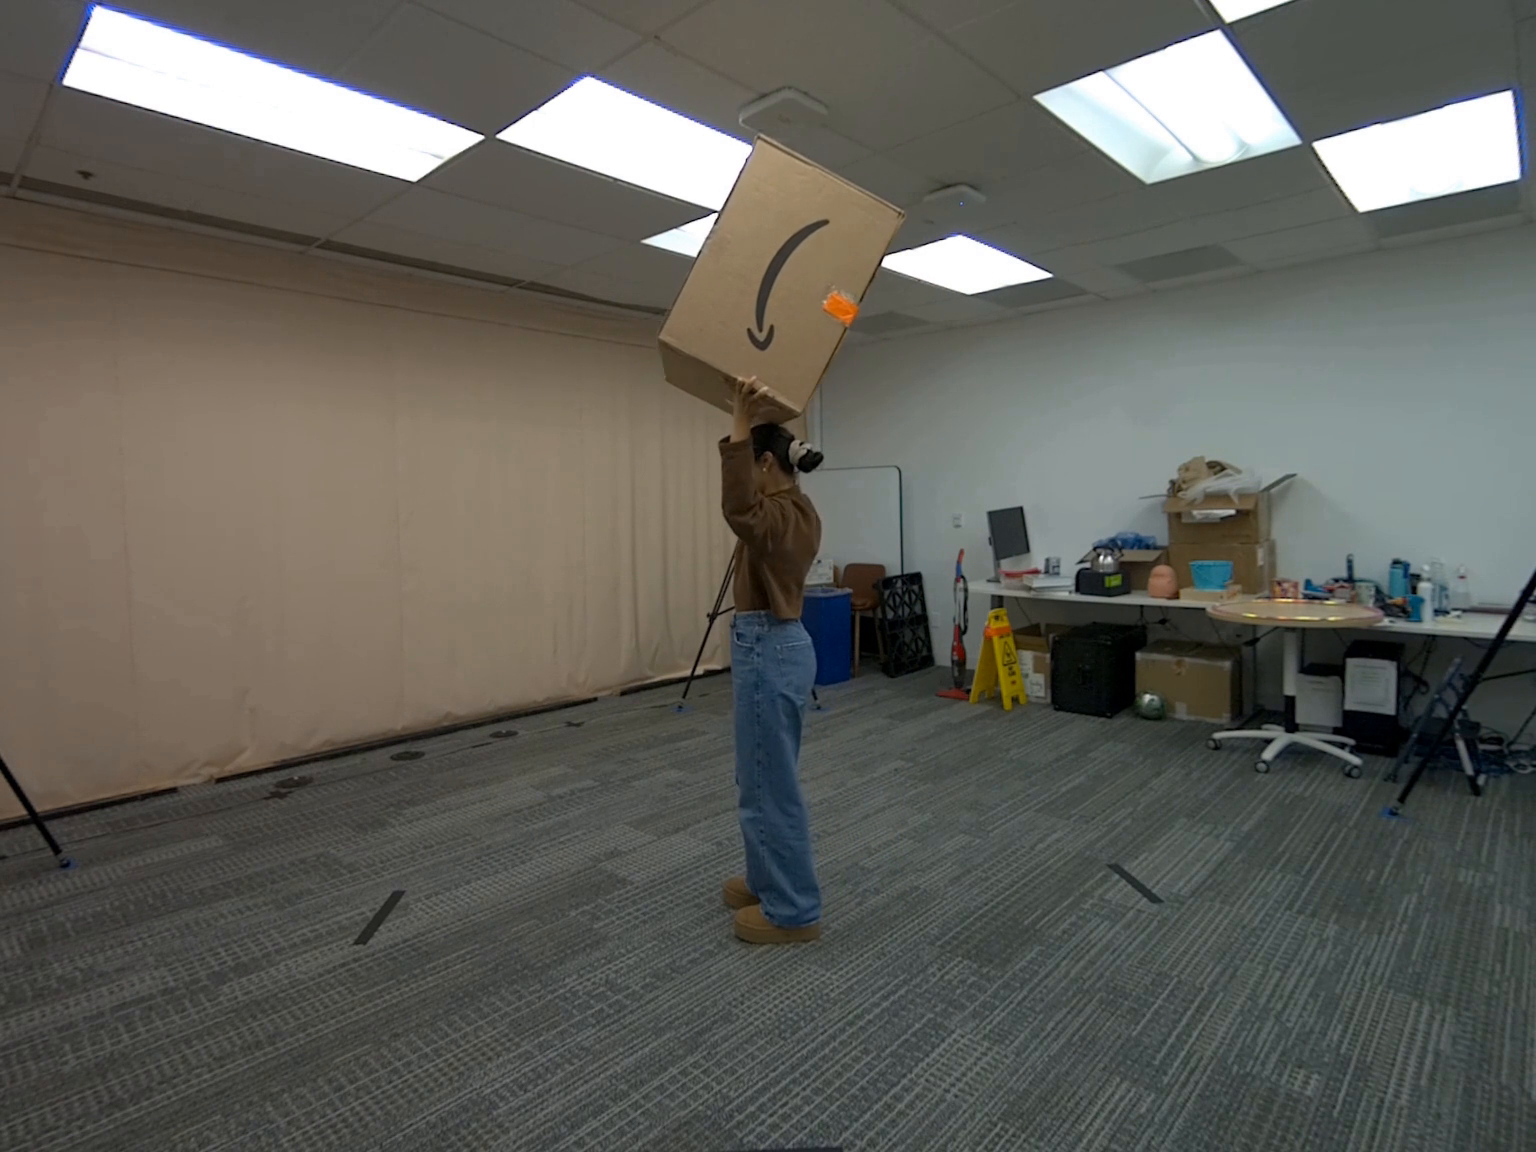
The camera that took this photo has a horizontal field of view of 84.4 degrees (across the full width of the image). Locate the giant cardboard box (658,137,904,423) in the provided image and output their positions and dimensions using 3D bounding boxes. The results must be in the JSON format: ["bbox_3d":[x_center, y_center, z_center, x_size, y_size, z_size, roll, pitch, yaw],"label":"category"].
[{"bbox_3d":[-0.010,-0.825,2.643,0.423,0.577,1.034,27,4,-7],"label":"giant cardboard box"}]
